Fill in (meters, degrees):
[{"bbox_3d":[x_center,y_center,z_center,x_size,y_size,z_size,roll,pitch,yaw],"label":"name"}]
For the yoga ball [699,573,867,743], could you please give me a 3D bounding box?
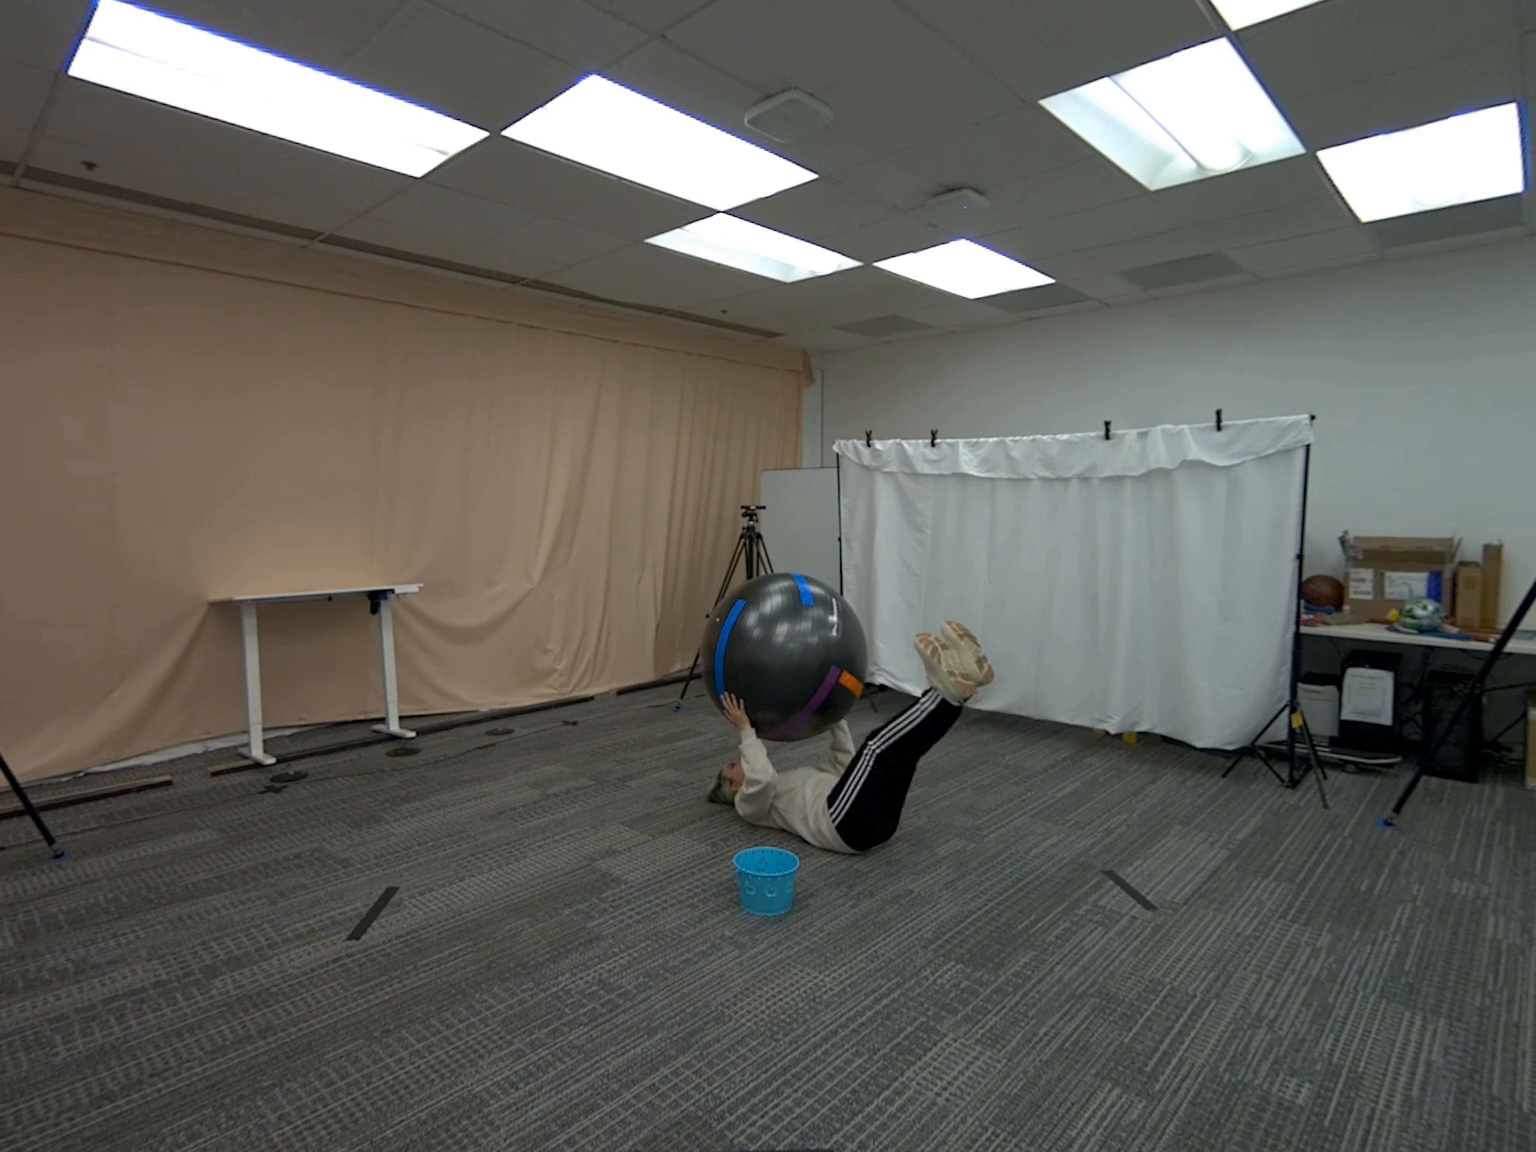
[{"bbox_3d":[0.068,0.364,3.815,0.757,0.756,0.760,0,4,-2],"label":"yoga ball"}]
